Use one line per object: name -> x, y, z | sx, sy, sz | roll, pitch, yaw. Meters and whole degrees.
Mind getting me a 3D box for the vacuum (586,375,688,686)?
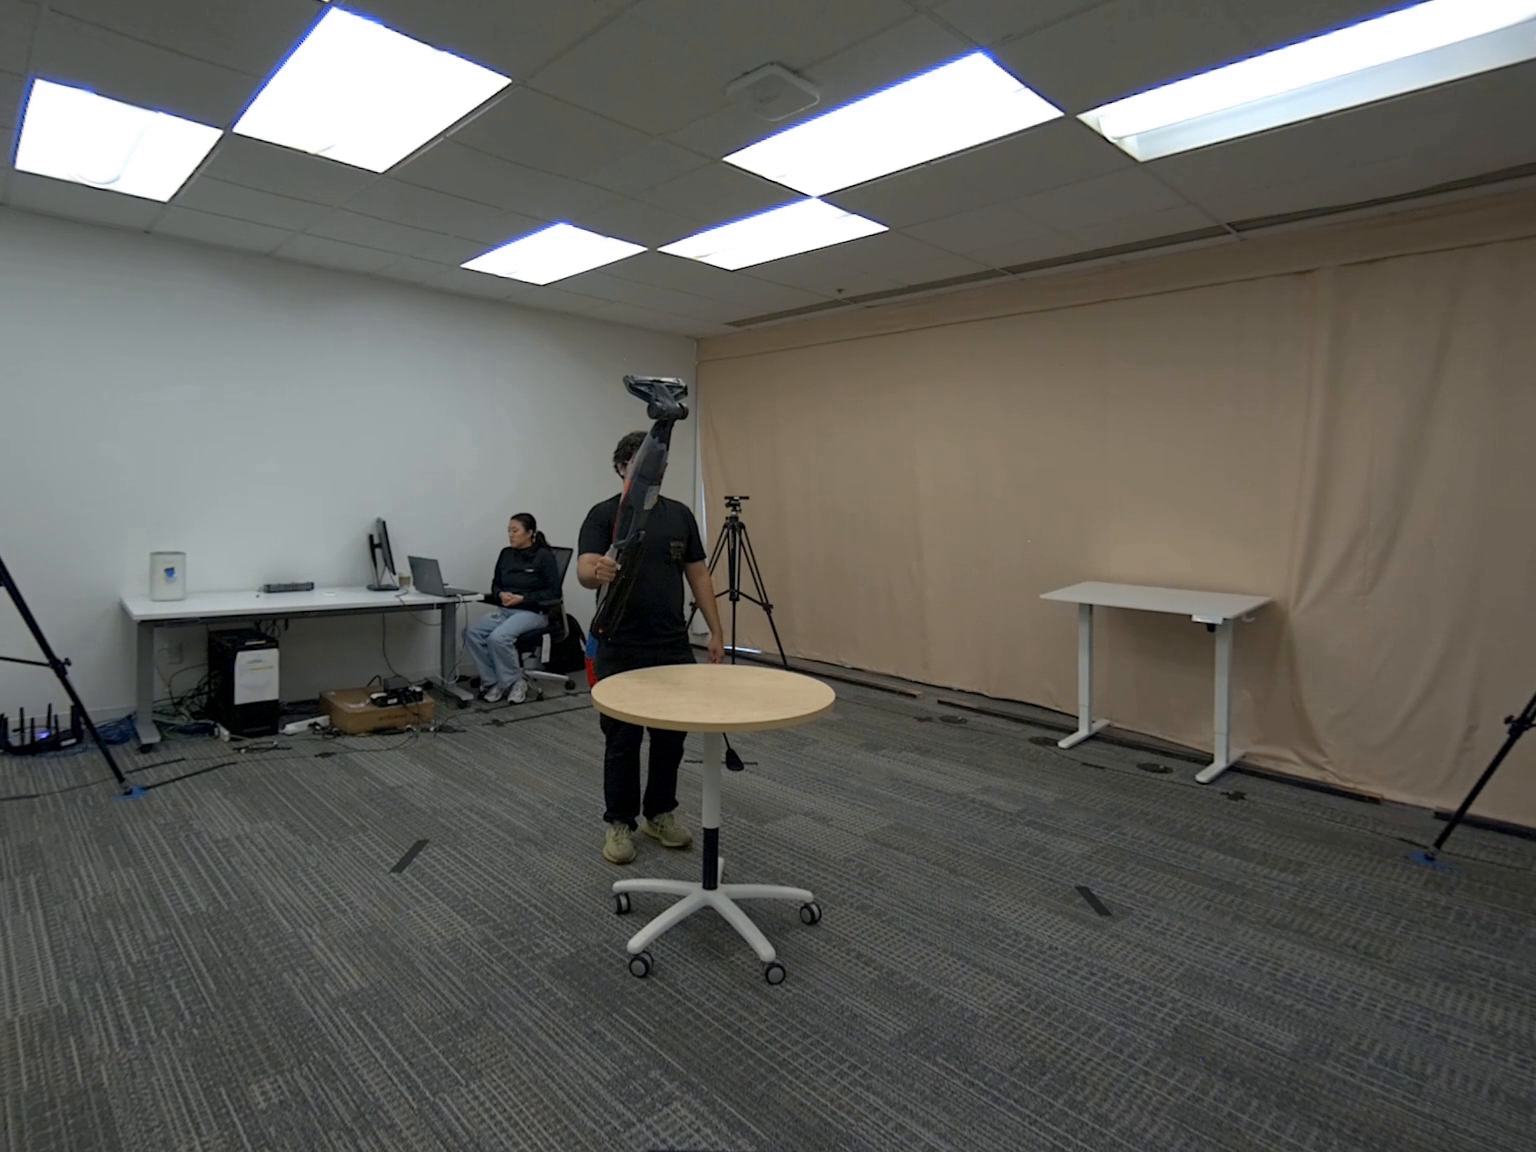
vacuum -> -0.470, -0.099, 2.749 | 0.148, 1.039, 0.247 | 30, 24, 35
